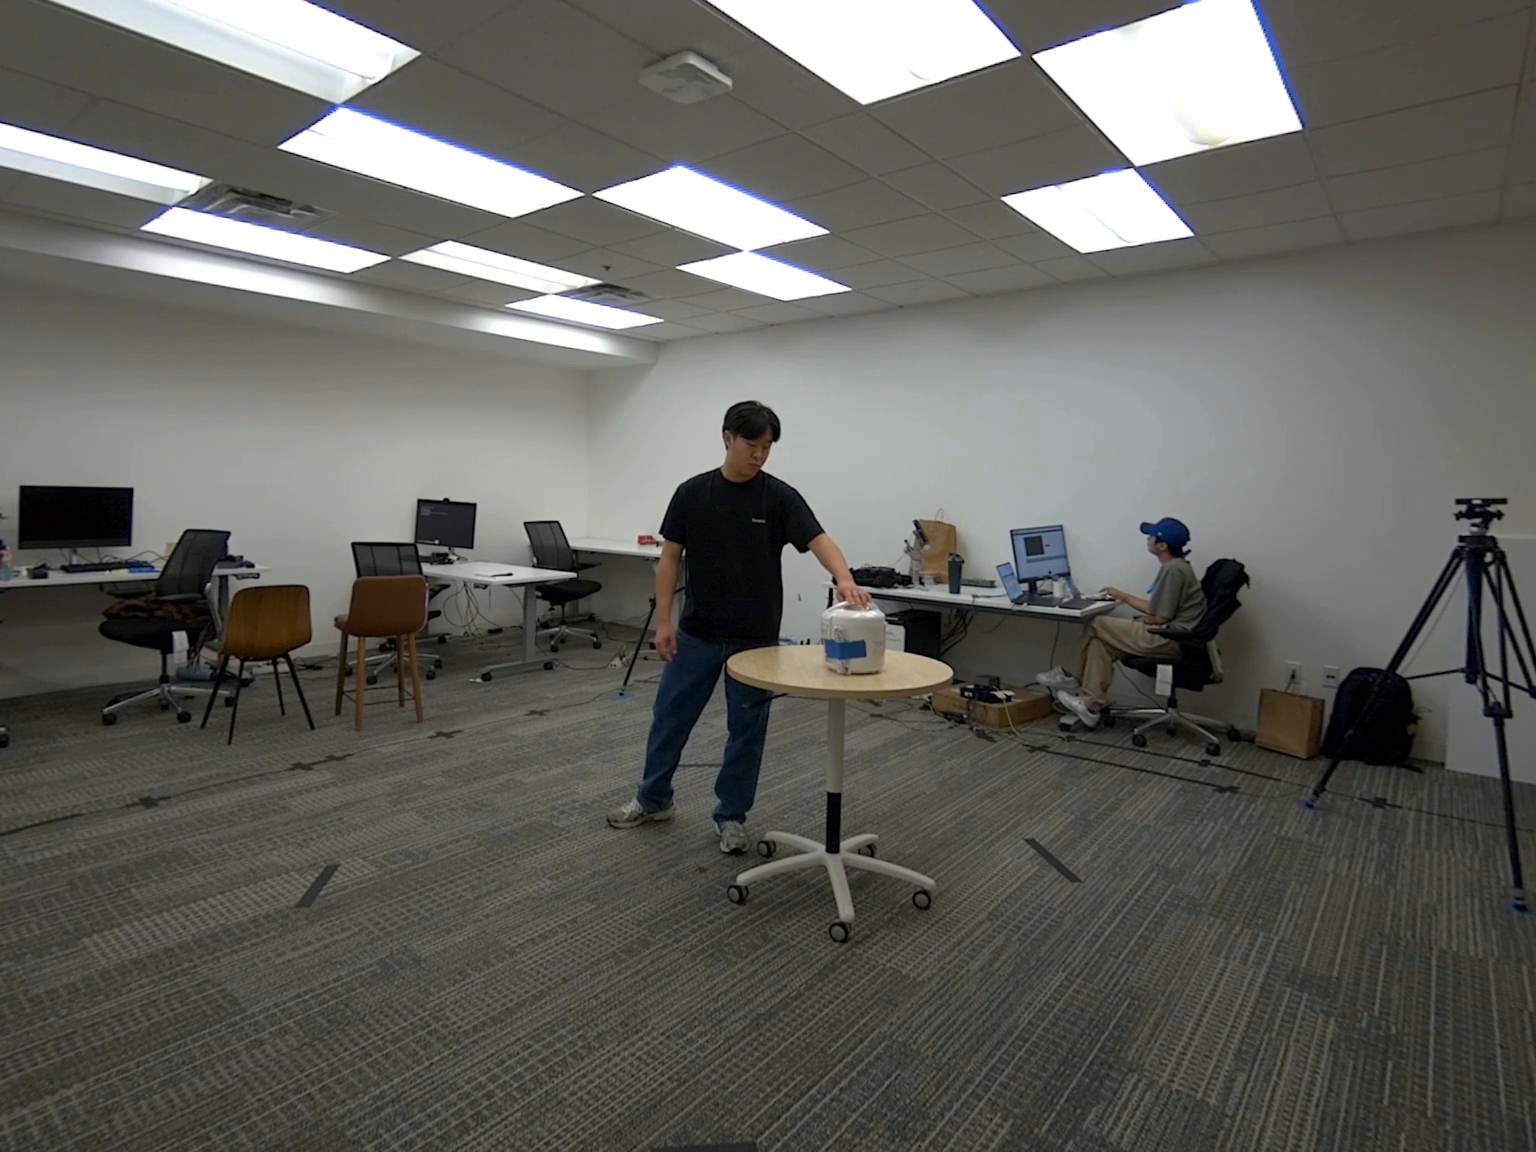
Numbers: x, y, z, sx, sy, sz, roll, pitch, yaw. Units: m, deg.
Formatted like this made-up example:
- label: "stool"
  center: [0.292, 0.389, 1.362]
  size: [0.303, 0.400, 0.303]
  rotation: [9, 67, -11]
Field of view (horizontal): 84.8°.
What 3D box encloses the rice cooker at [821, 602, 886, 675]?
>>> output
- label: "rice cooker"
  center: [0.280, 0.192, 2.849]
  size: [0.217, 0.232, 0.221]
  rotation: [1, 3, -15]
